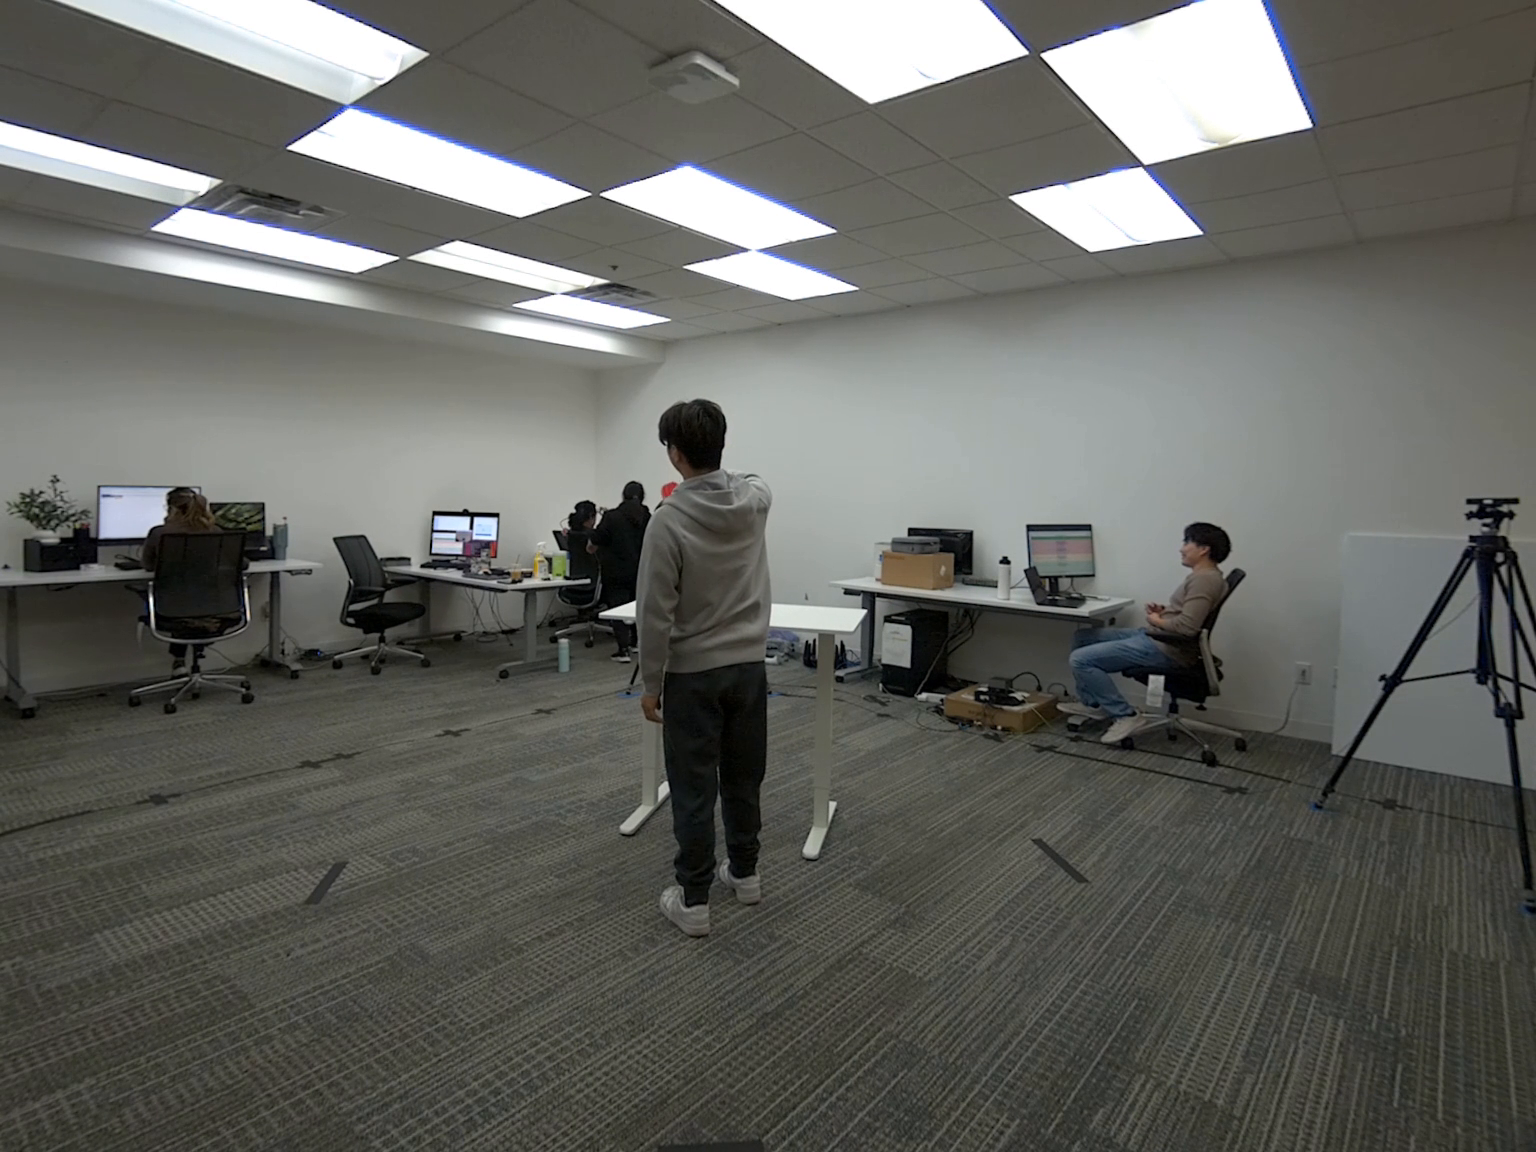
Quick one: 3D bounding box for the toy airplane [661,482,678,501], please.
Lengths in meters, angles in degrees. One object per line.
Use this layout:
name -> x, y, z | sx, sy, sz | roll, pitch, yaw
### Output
toy airplane -> -0.308, -0.278, 3.298 | 0.261, 0.260, 0.150 | 20, -23, 34
